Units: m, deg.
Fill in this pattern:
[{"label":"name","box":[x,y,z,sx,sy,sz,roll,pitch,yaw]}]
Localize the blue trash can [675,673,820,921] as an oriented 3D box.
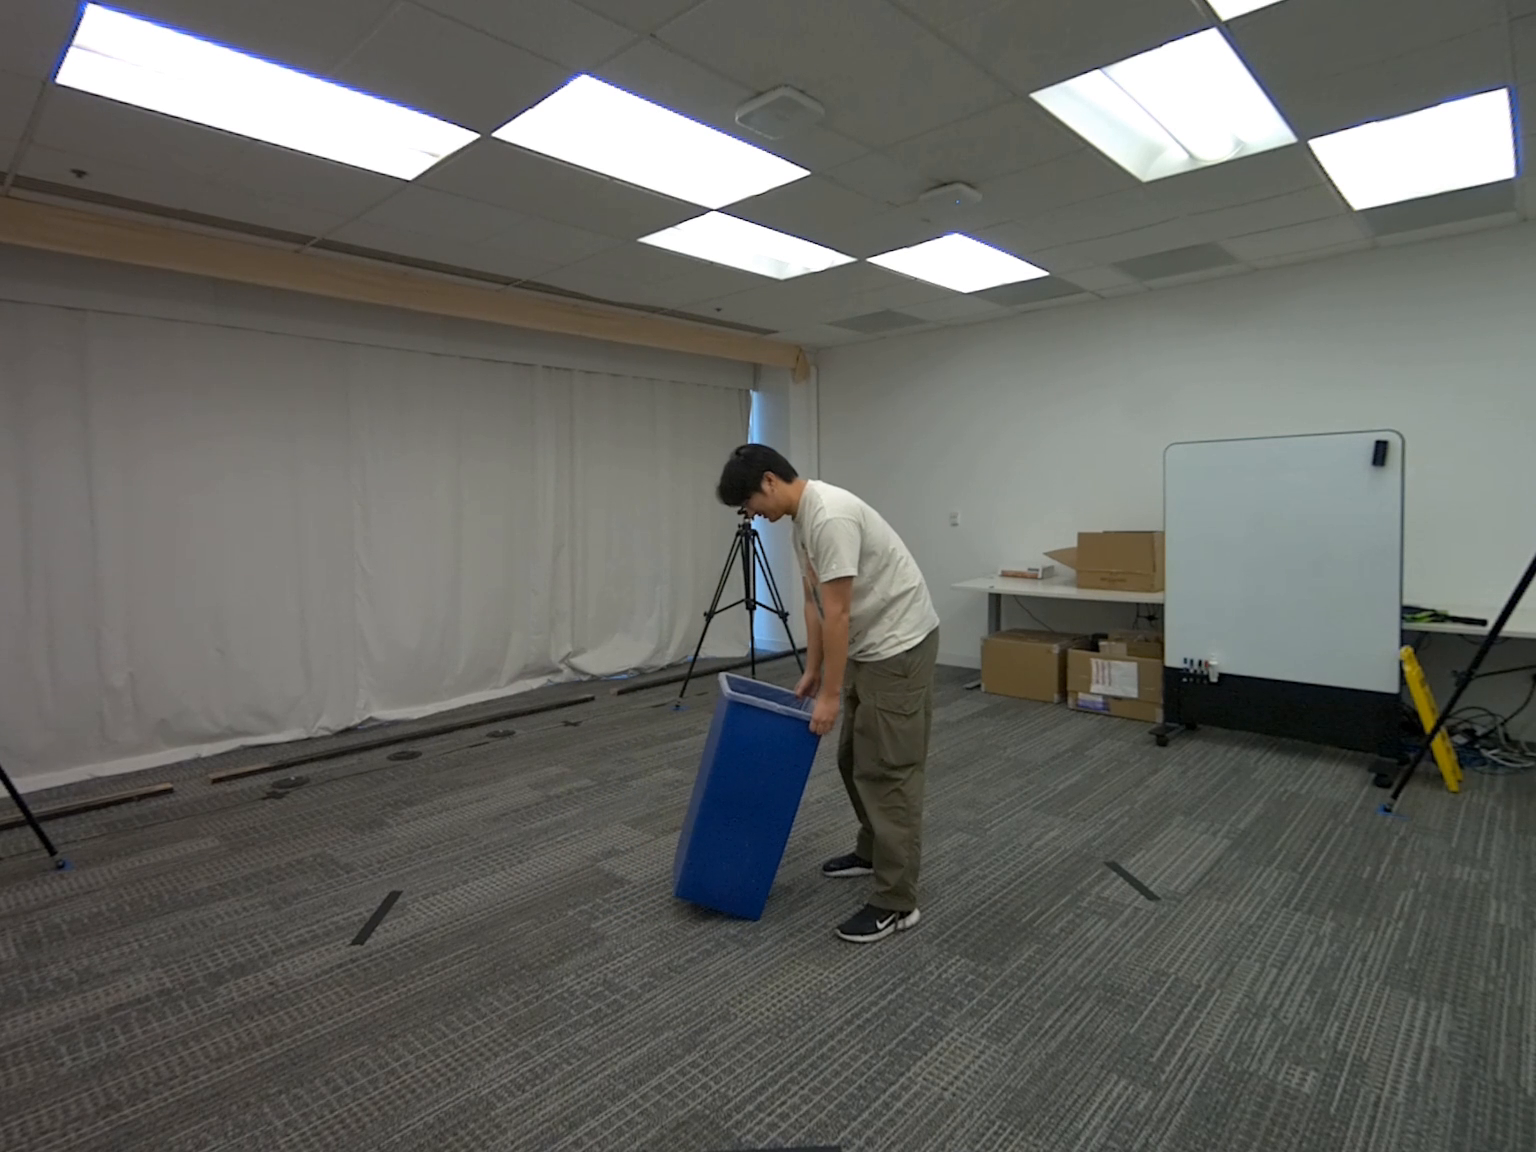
[{"label":"blue trash can","box":[-0.078,0.761,2.931,0.372,0.713,0.380,18,1,-5]}]
